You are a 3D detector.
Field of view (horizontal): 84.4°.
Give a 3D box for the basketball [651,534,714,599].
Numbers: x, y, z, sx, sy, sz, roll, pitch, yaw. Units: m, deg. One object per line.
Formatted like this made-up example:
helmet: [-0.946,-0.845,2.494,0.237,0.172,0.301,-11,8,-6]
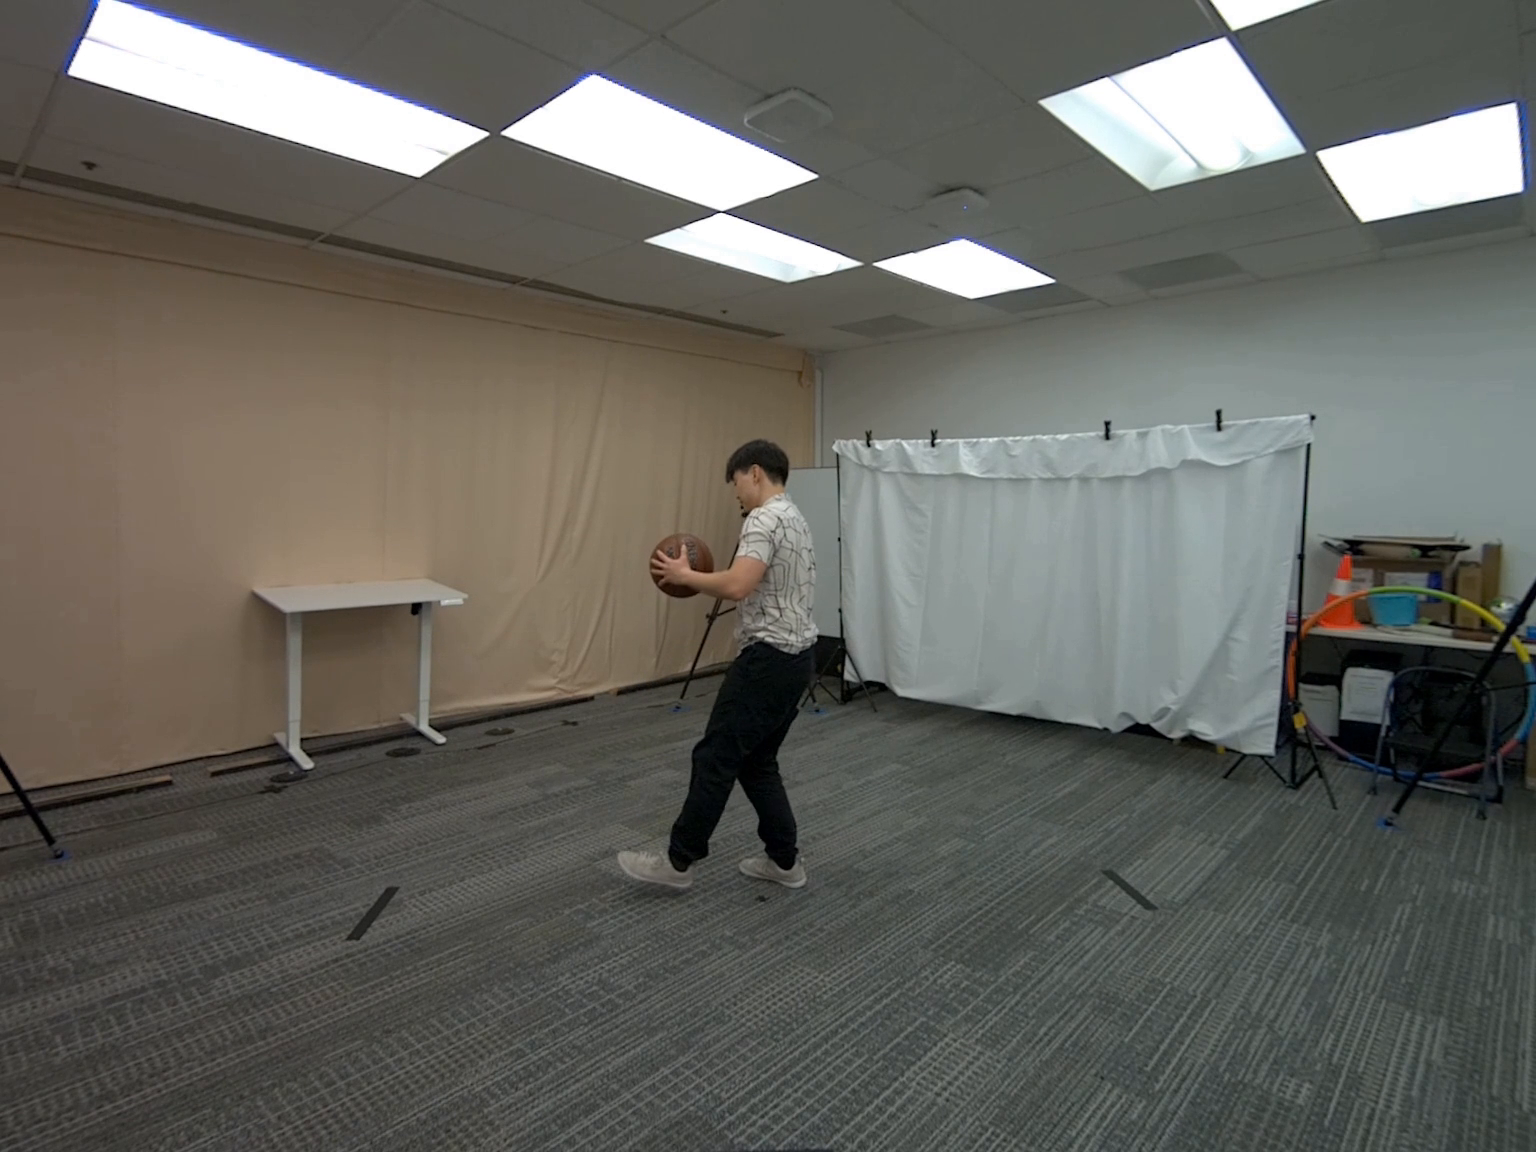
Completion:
basketball: [-0.317,-0.016,3.122,0.236,0.235,0.237,0,4,-2]
